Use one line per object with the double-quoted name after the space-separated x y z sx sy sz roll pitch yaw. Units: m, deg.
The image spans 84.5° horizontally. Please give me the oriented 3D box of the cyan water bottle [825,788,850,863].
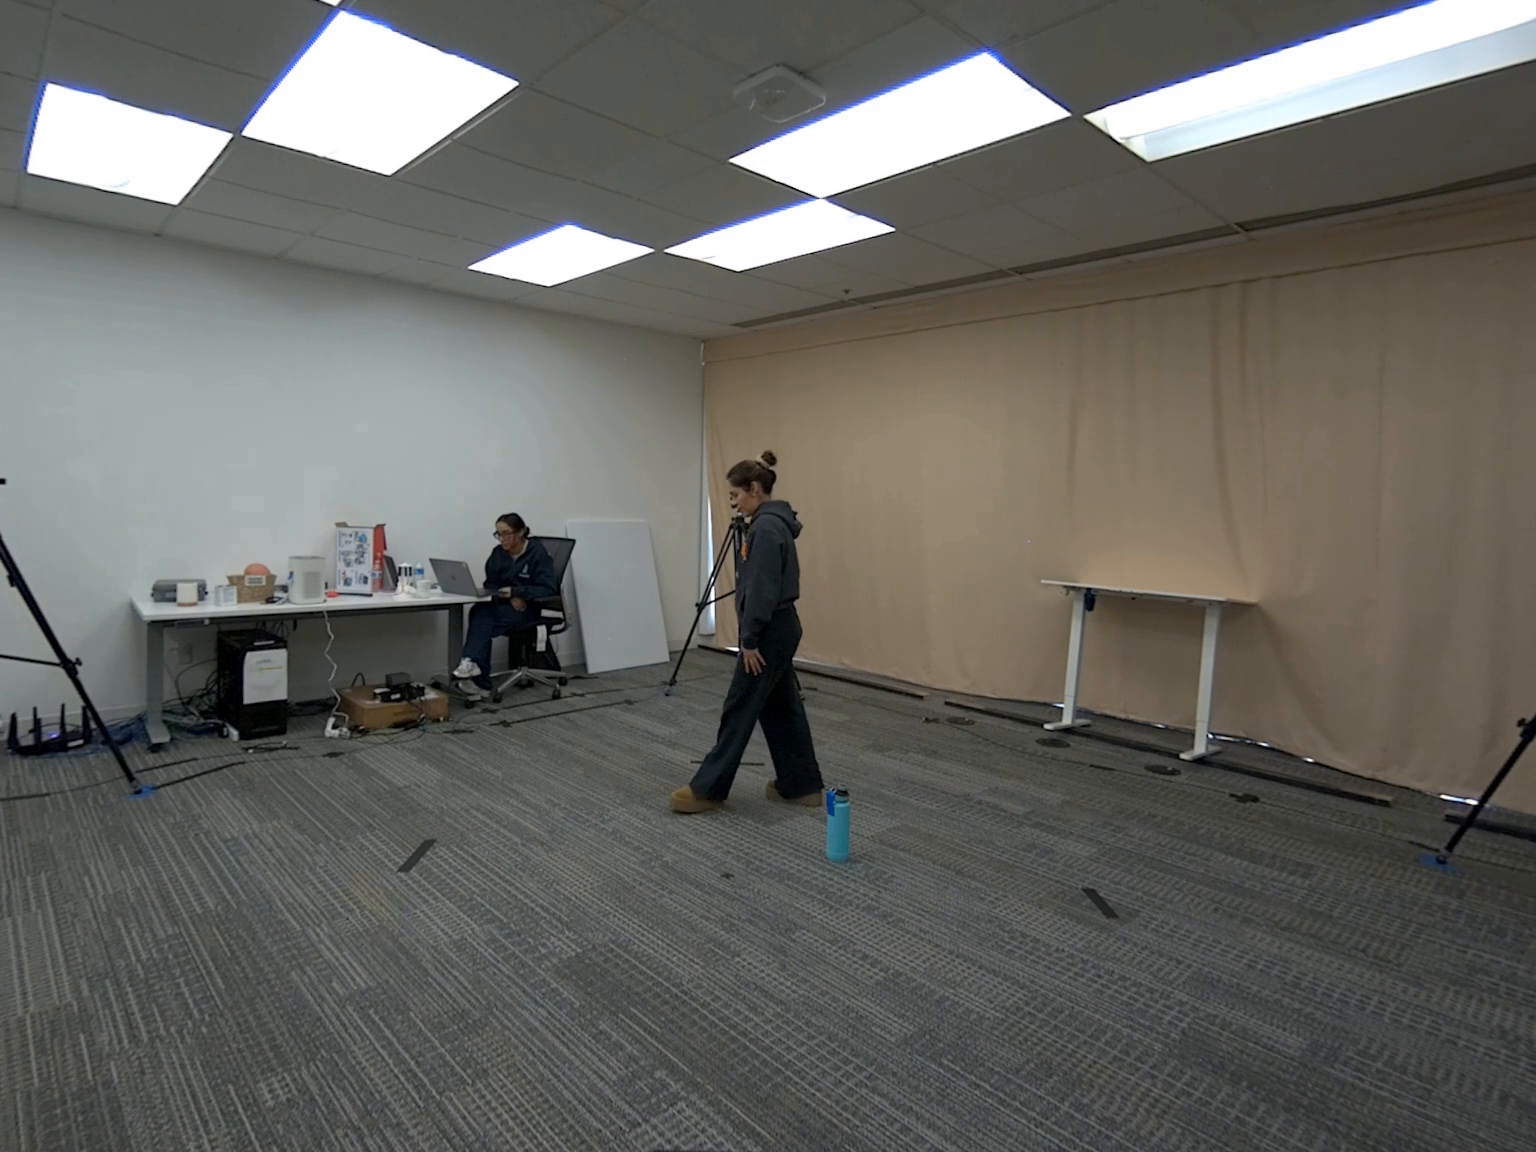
0.266 0.956 3.299 0.092 0.283 0.092 0 3 -1 "cyan water bottle"
